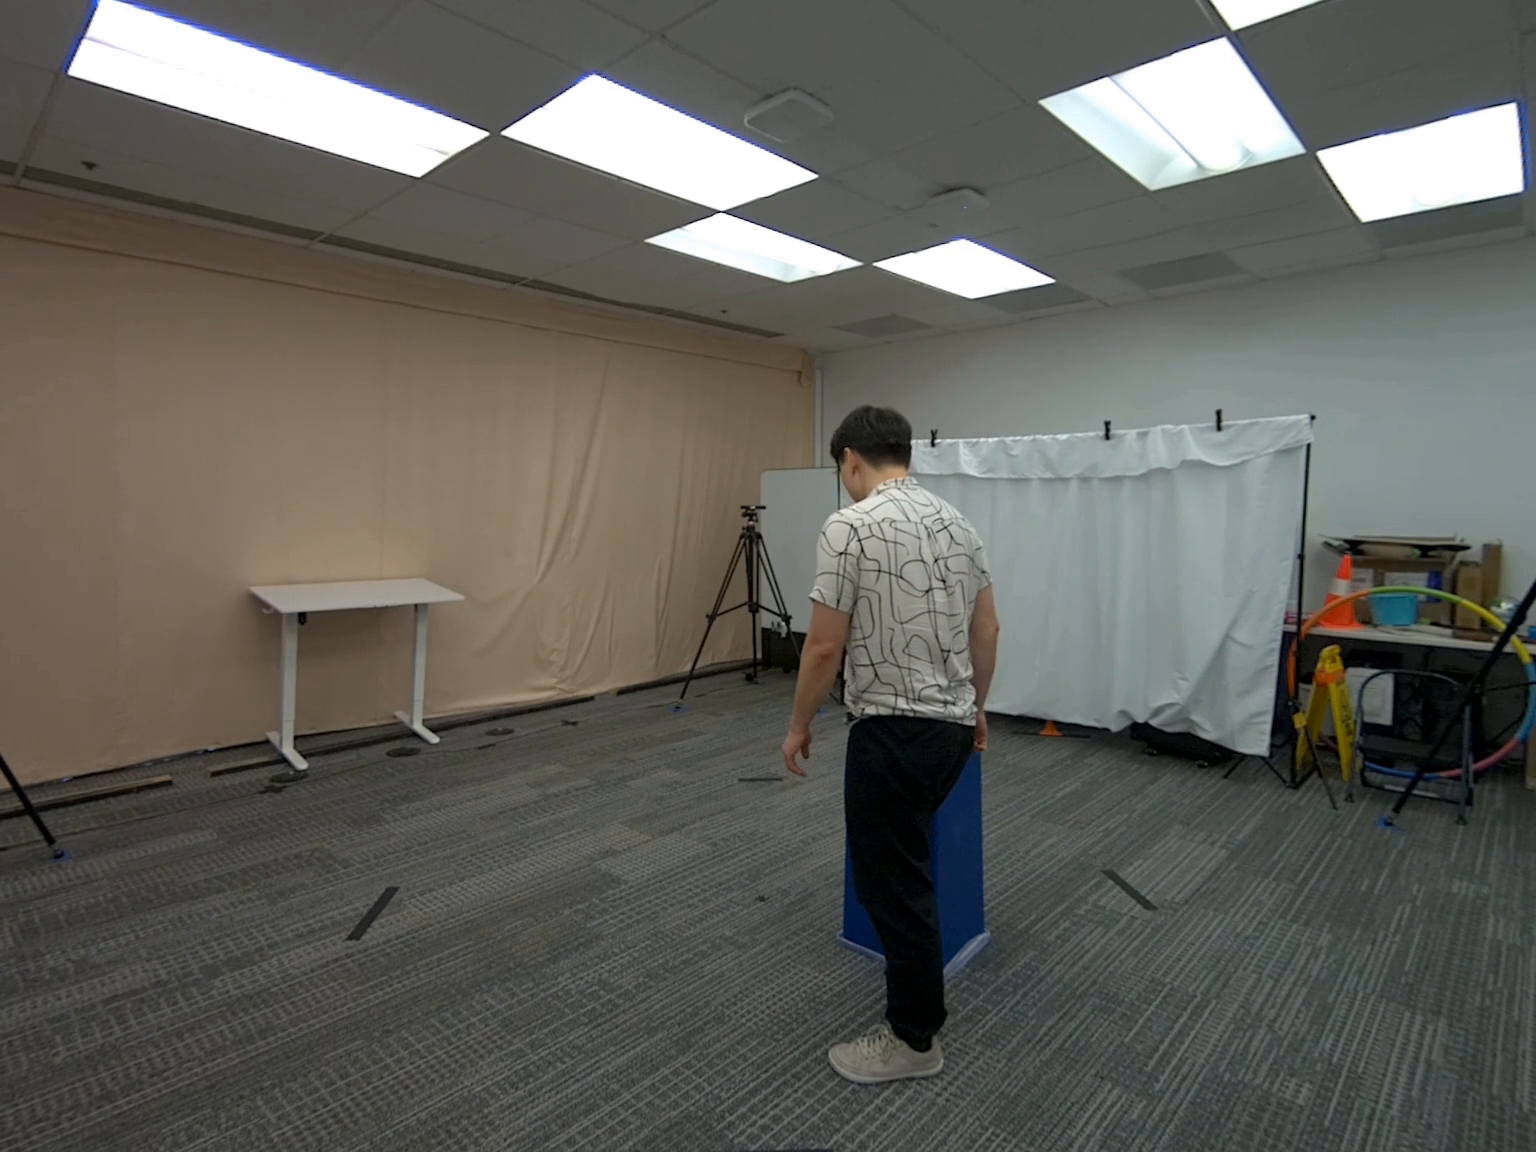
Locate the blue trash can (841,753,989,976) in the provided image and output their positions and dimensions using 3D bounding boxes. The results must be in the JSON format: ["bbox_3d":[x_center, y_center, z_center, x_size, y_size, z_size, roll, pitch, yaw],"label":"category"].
[{"bbox_3d":[0.476,0.816,2.667,0.386,0.712,0.367,4,5,40],"label":"blue trash can"}]
